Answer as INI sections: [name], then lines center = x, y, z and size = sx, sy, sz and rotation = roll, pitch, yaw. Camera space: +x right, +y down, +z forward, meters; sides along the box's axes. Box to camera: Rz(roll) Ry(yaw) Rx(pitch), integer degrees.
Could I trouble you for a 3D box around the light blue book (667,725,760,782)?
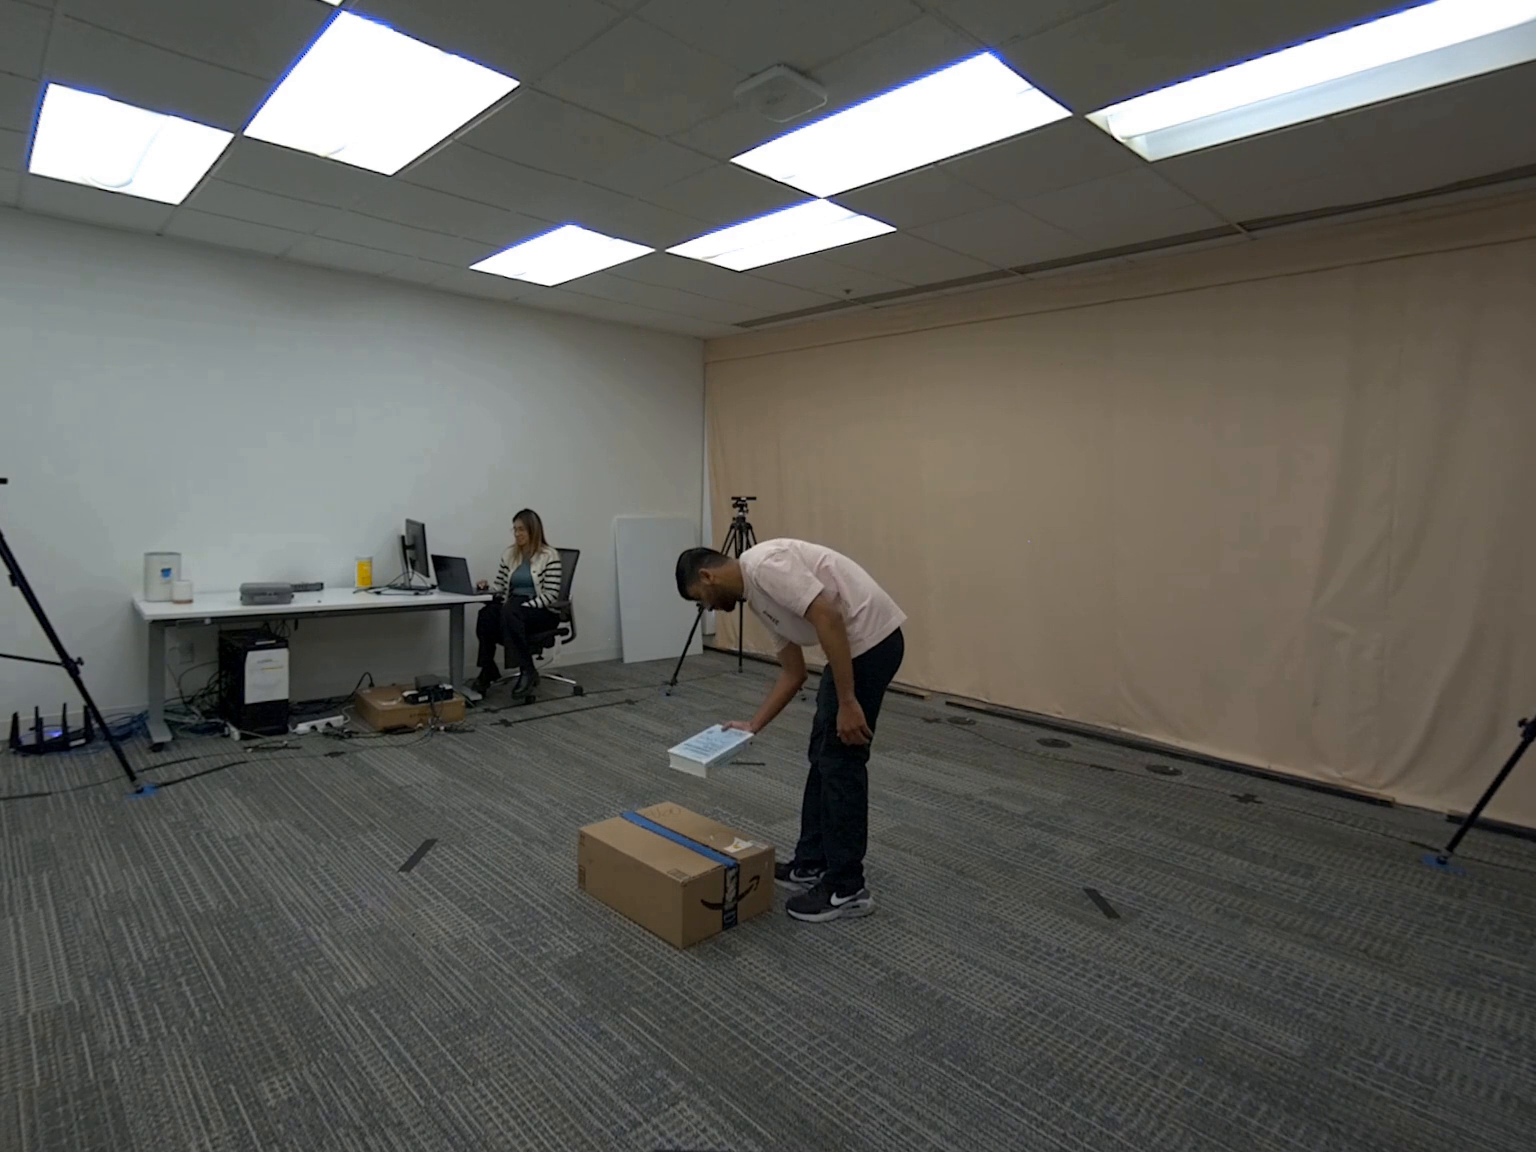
[light blue book]
center = -0.194, 0.624, 3.004
size = 0.257, 0.058, 0.196
rotation = -17, 17, -42
